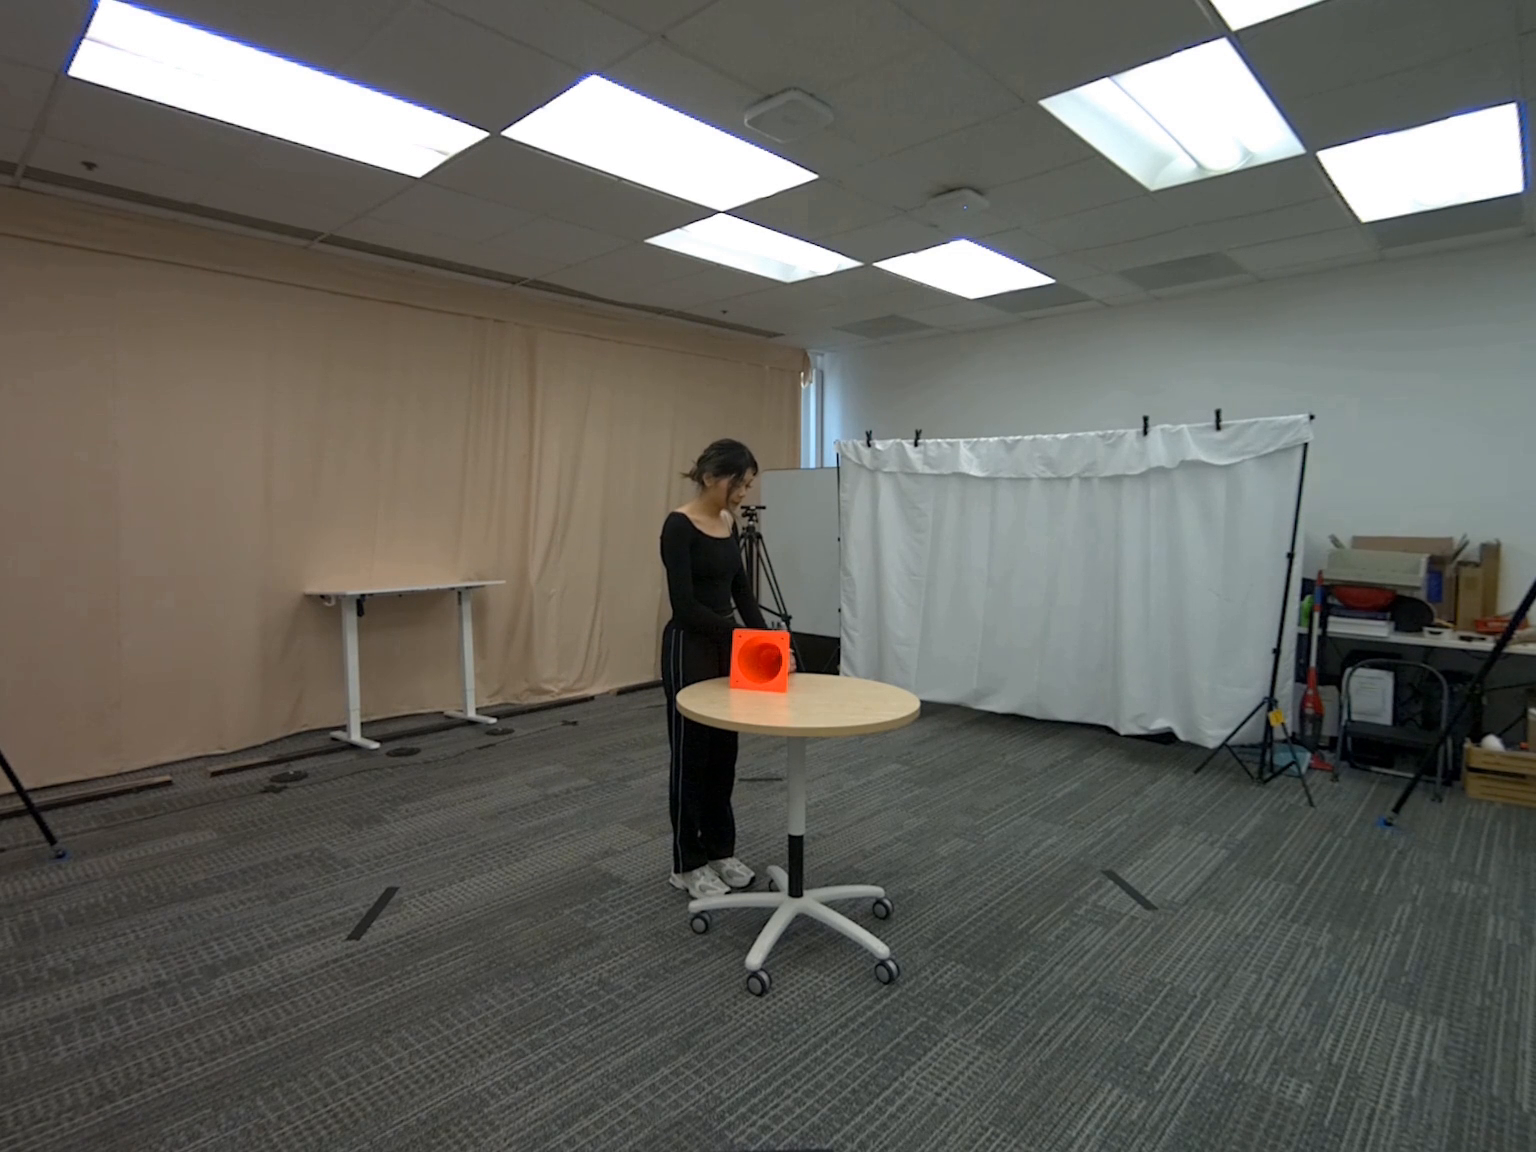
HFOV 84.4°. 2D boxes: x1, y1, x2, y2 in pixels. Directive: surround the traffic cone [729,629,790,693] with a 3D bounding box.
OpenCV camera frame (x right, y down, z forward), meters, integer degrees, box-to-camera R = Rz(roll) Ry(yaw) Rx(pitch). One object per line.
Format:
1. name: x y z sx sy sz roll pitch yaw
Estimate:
1. traffic cone: 0.020 0.310 2.959 0.207 0.206 0.374 2 -9 19
